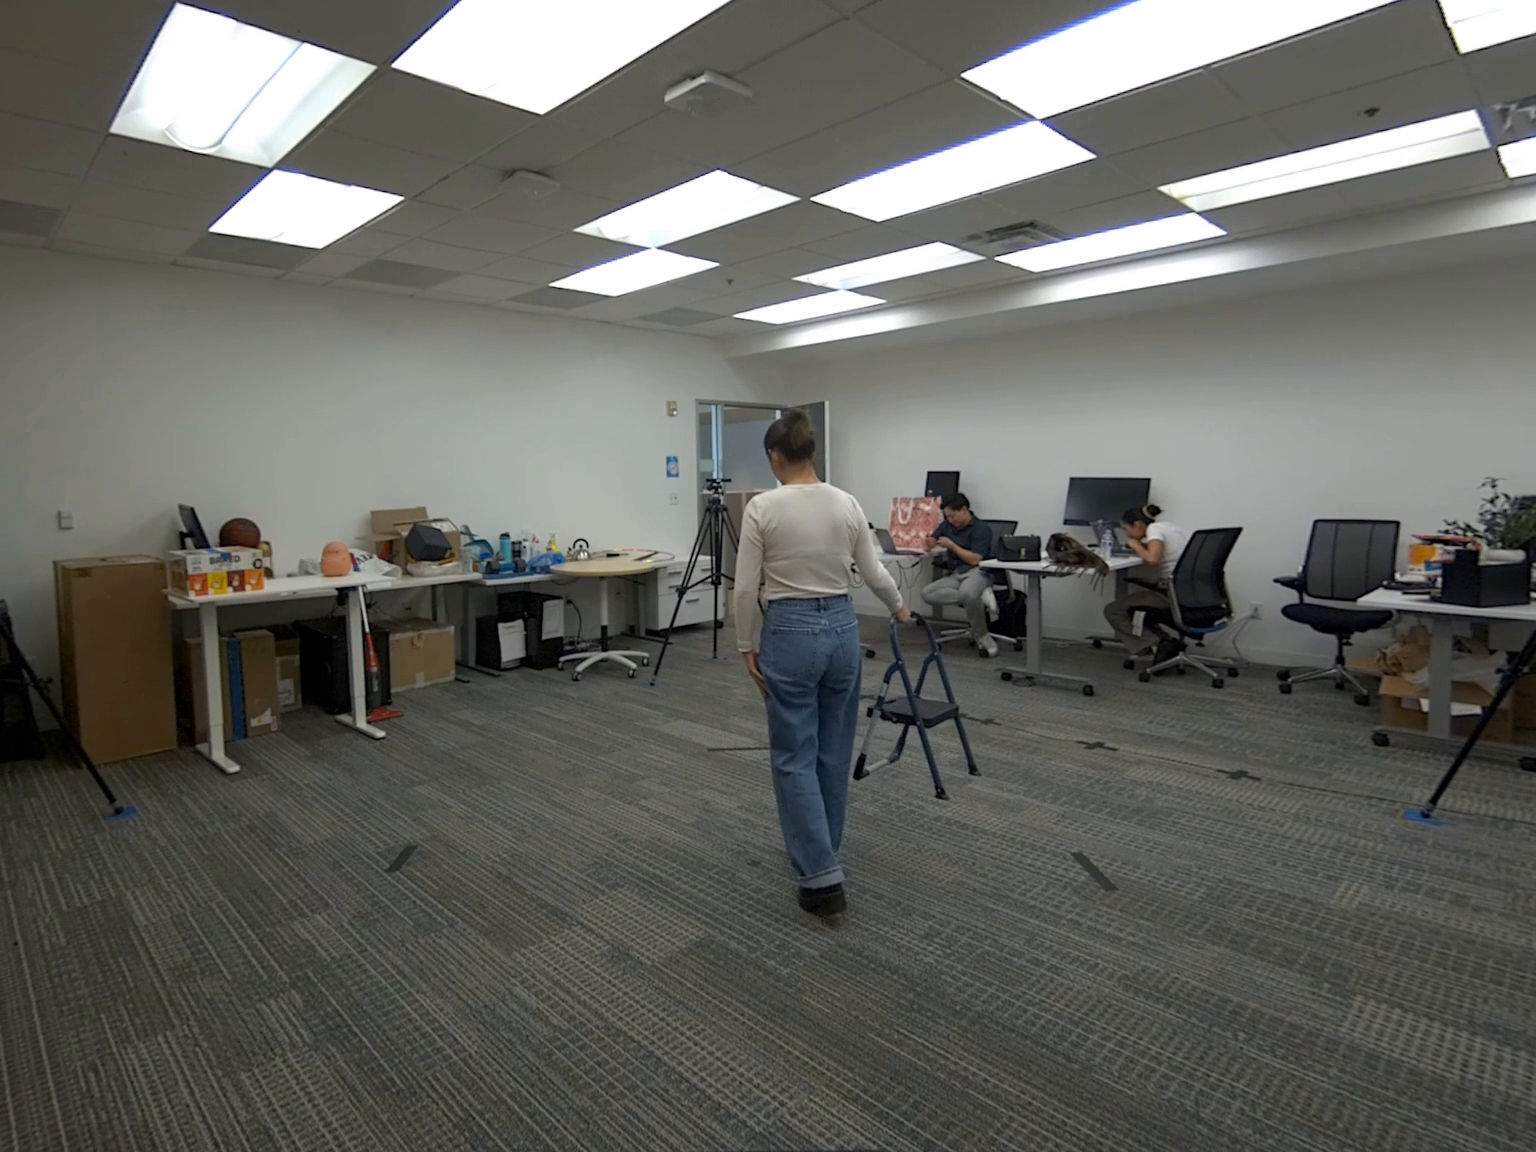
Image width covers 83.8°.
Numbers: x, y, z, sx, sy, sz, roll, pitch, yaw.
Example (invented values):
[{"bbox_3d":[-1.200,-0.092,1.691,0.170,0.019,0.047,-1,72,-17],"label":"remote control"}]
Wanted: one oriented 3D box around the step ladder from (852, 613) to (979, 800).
[{"bbox_3d":[0.578,0.448,3.168,0.359,0.606,0.419,4,0,30],"label":"step ladder"}]
